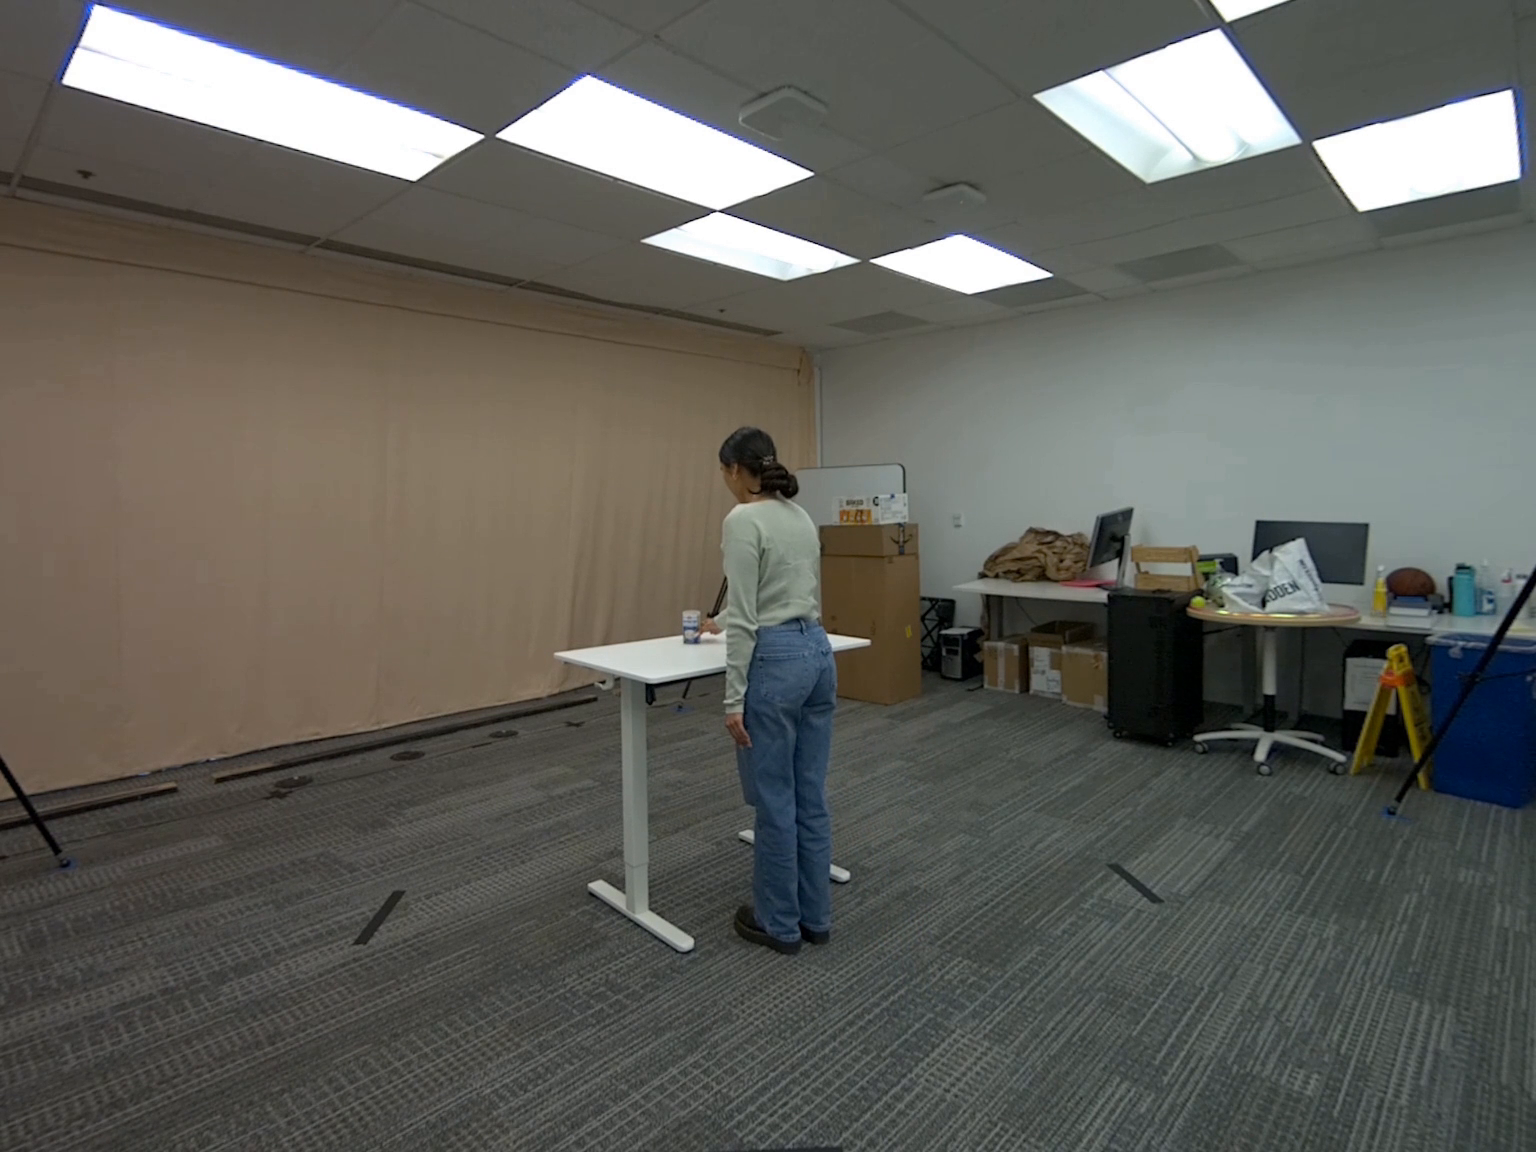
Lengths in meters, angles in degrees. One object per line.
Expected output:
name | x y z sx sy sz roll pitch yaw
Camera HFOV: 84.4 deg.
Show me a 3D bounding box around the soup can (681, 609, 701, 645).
soup can | -0.279 0.193 3.120 0.067 0.121 0.067 2 0 -2
